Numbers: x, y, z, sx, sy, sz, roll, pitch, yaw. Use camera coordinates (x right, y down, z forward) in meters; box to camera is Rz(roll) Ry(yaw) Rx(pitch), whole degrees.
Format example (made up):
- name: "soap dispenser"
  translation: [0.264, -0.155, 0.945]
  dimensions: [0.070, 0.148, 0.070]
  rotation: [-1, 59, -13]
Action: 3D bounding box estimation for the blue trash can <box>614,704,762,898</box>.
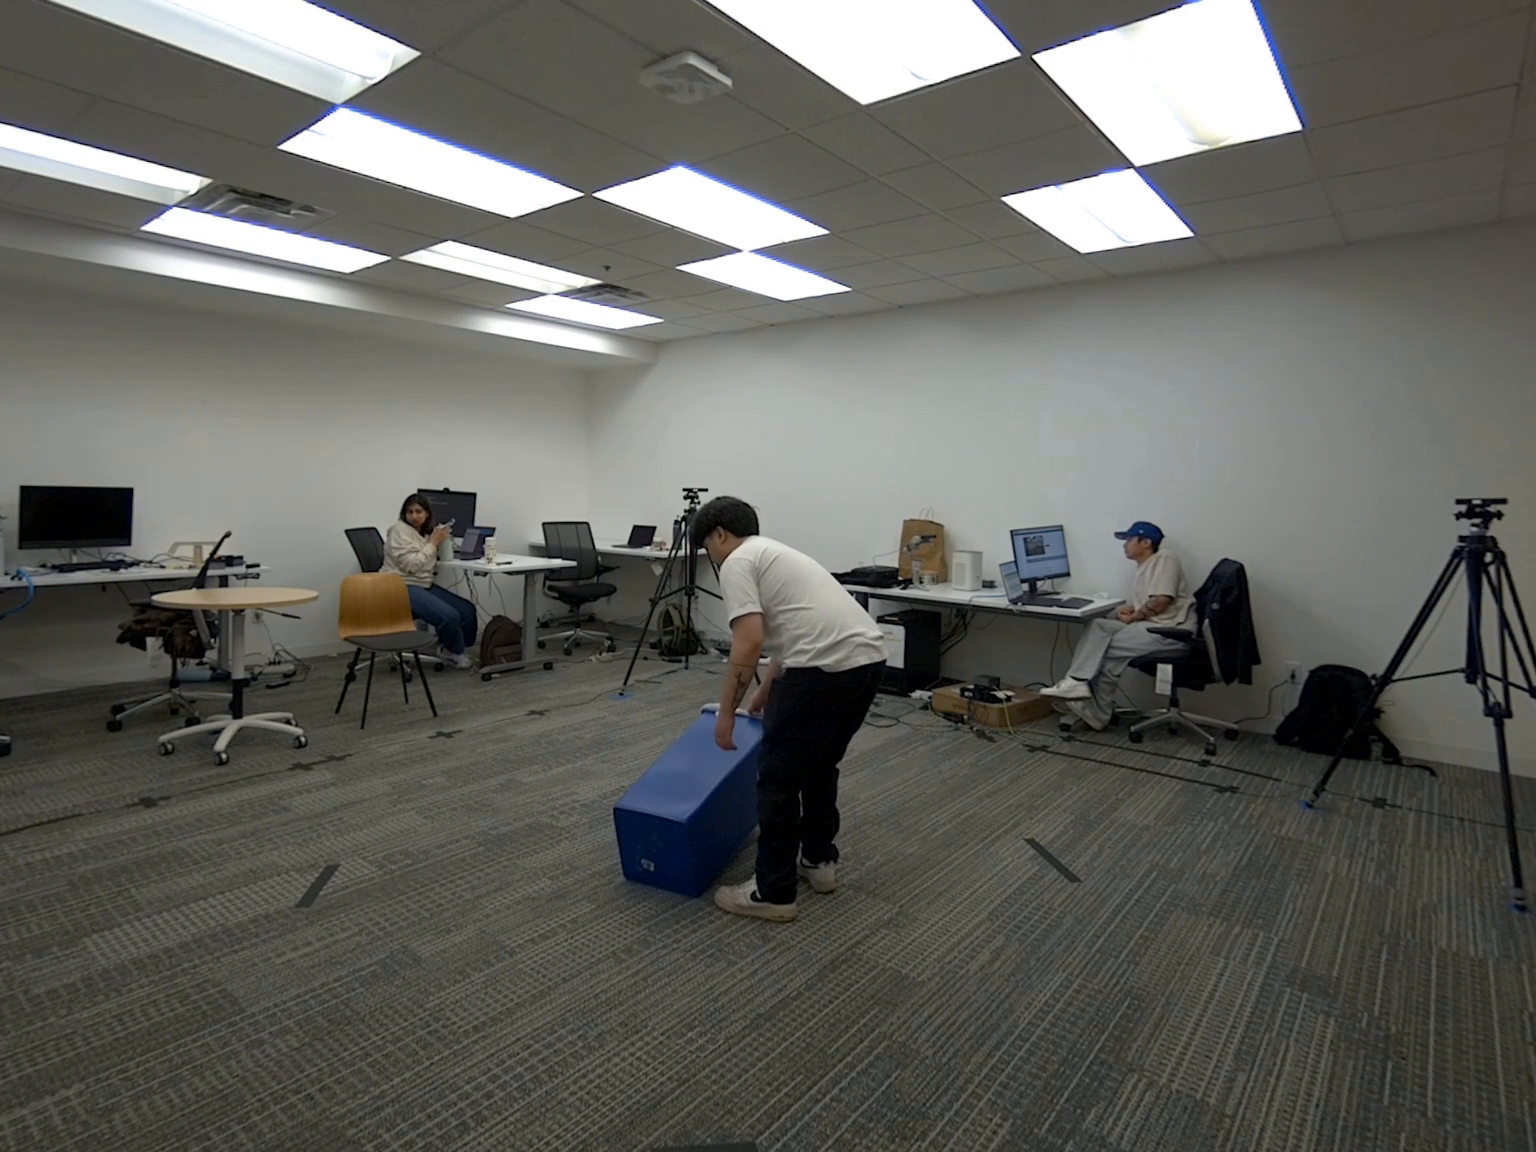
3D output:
- name: "blue trash can"
  translation: [-0.256, 0.831, 3.206]
  dimensions: [0.388, 0.367, 0.707]
  rotation: [3, 21, 26]
